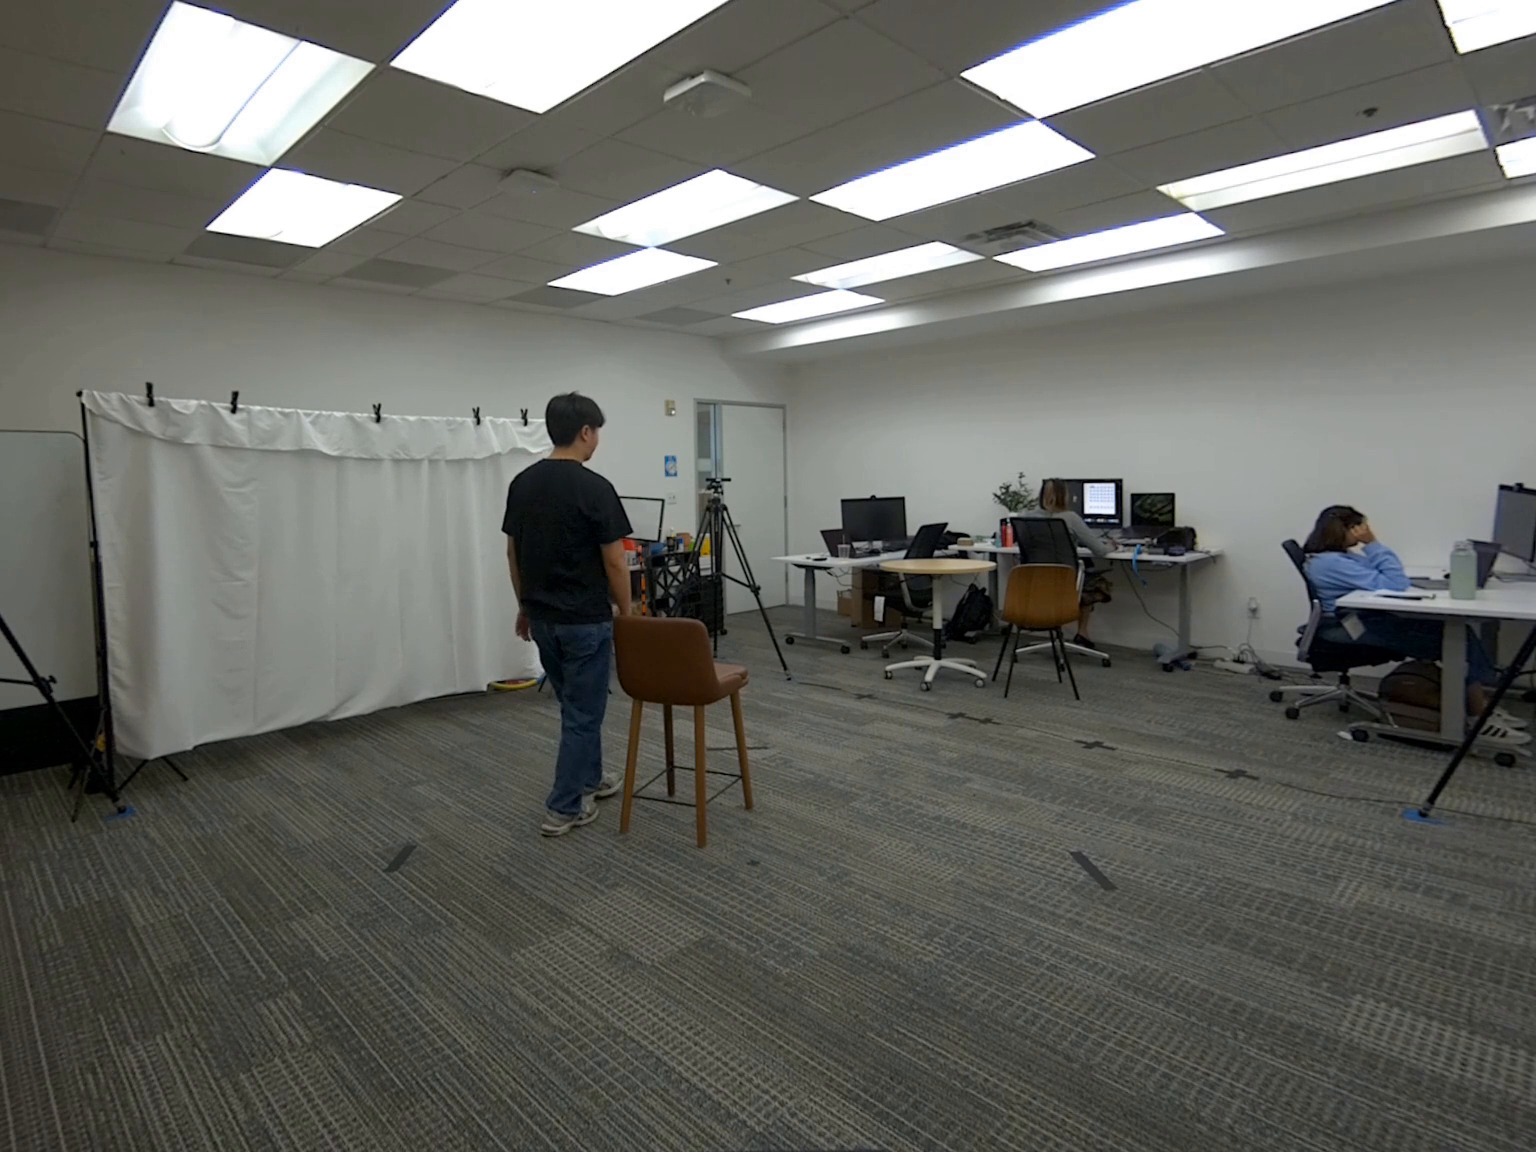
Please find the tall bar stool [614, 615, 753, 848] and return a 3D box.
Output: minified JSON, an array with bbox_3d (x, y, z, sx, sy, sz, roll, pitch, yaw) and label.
[{"bbox_3d":[-0.341,0.569,3.483,0.467,0.885,0.459,1,6,25],"label":"tall bar stool"}]
